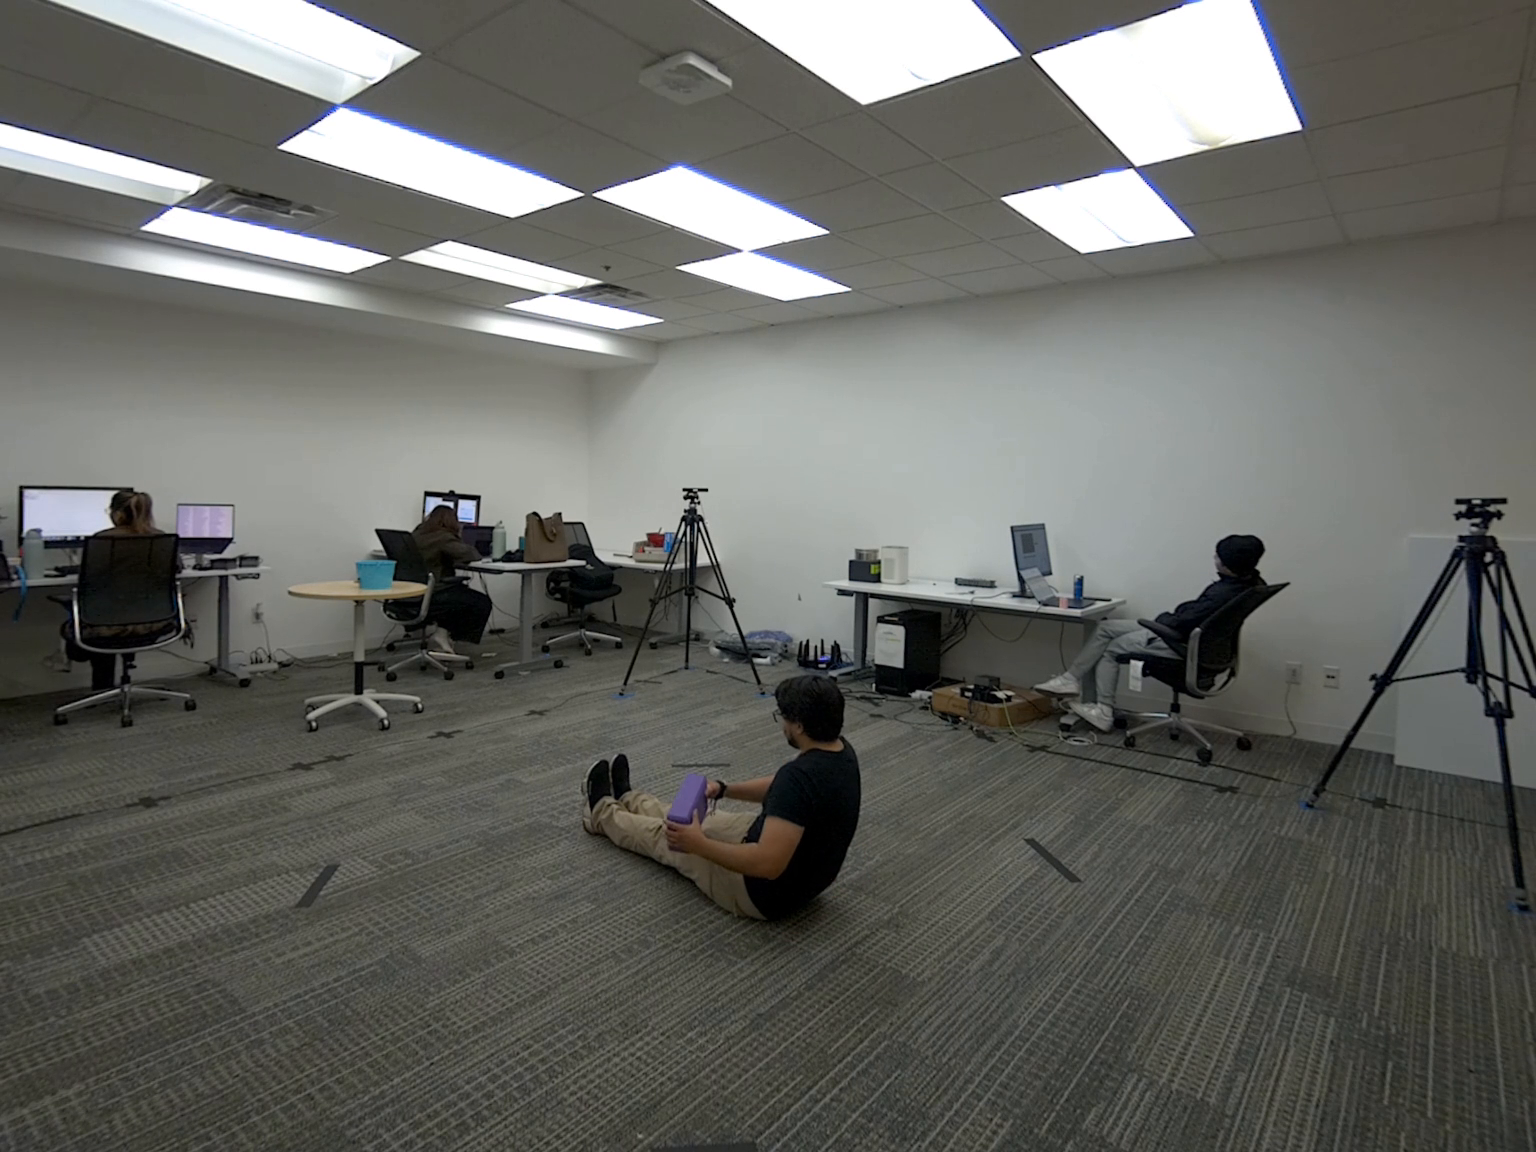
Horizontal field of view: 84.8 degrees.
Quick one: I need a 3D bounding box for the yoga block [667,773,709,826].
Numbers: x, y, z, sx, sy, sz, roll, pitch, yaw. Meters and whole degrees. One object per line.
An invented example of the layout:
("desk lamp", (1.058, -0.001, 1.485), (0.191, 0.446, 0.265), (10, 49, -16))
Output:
("yoga block", (-0.270, 0.787, 2.818), (0.078, 0.146, 0.230), (1, 24, 14))
